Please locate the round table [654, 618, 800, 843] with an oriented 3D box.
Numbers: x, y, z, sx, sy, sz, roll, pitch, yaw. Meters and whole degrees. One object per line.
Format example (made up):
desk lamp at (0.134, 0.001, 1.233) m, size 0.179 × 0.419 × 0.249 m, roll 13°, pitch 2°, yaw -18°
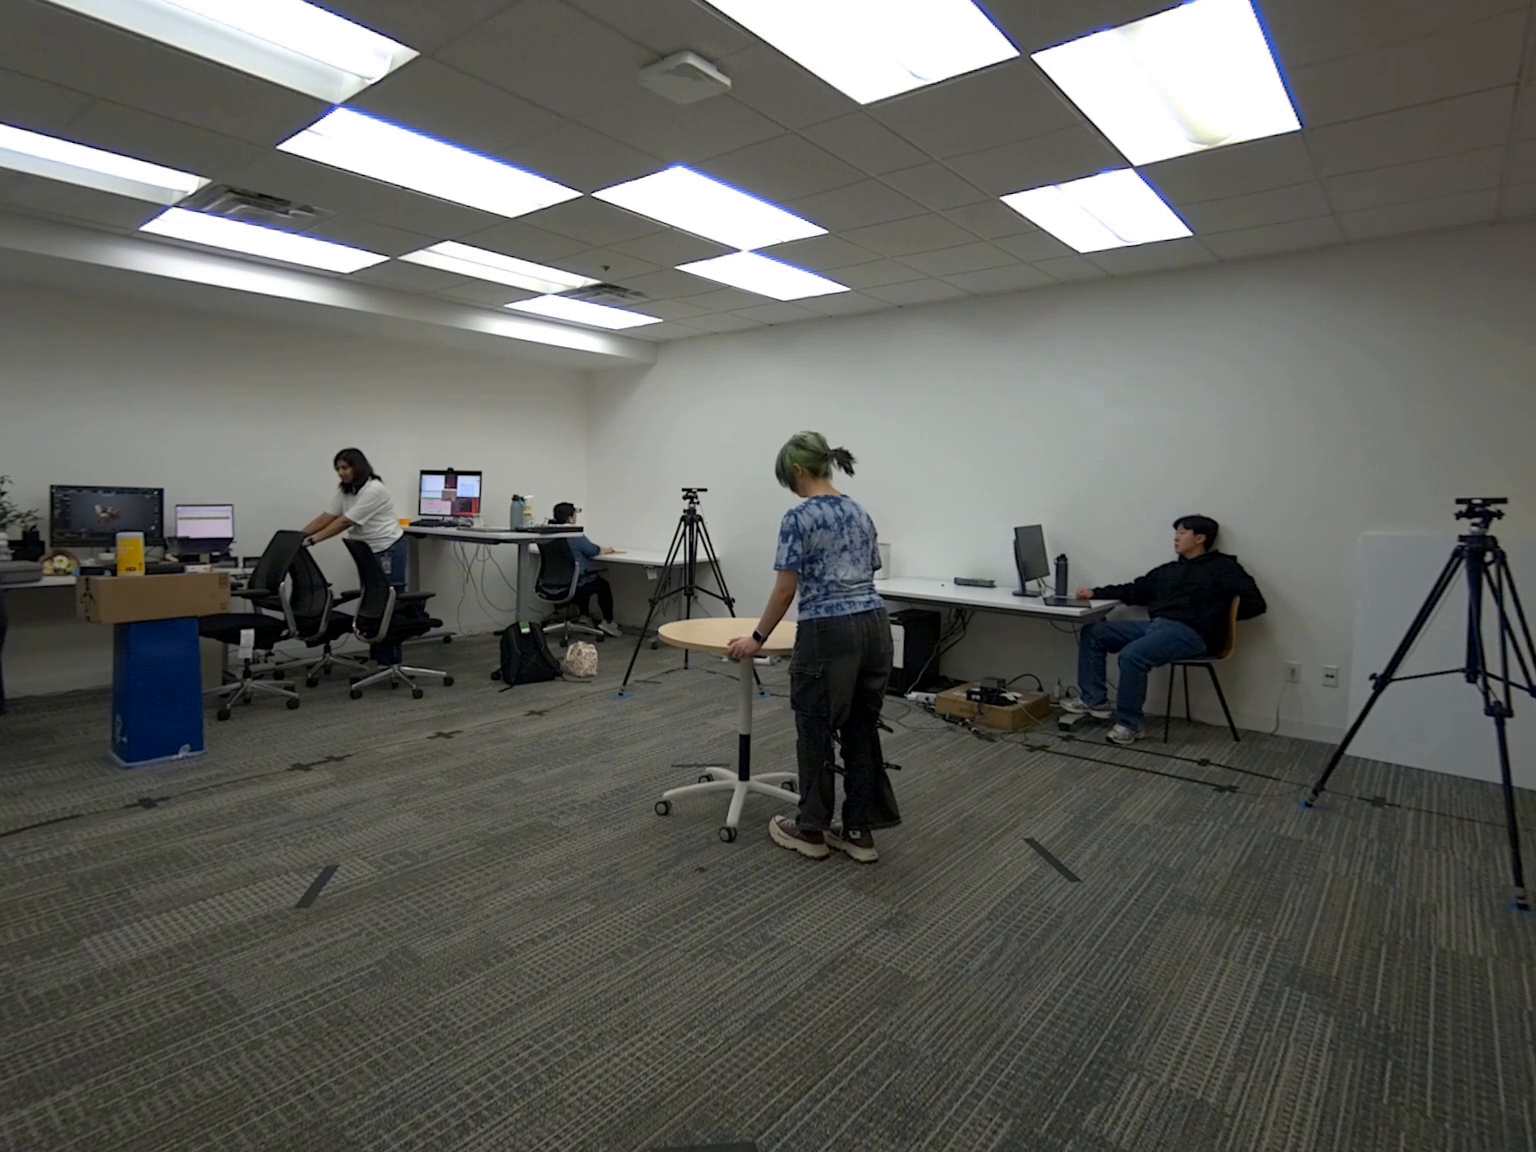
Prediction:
round table at (-0.114, 0.629, 3.667) m, size 0.763 × 0.791 × 0.768 m, roll 1°, pitch 4°, yaw -2°
